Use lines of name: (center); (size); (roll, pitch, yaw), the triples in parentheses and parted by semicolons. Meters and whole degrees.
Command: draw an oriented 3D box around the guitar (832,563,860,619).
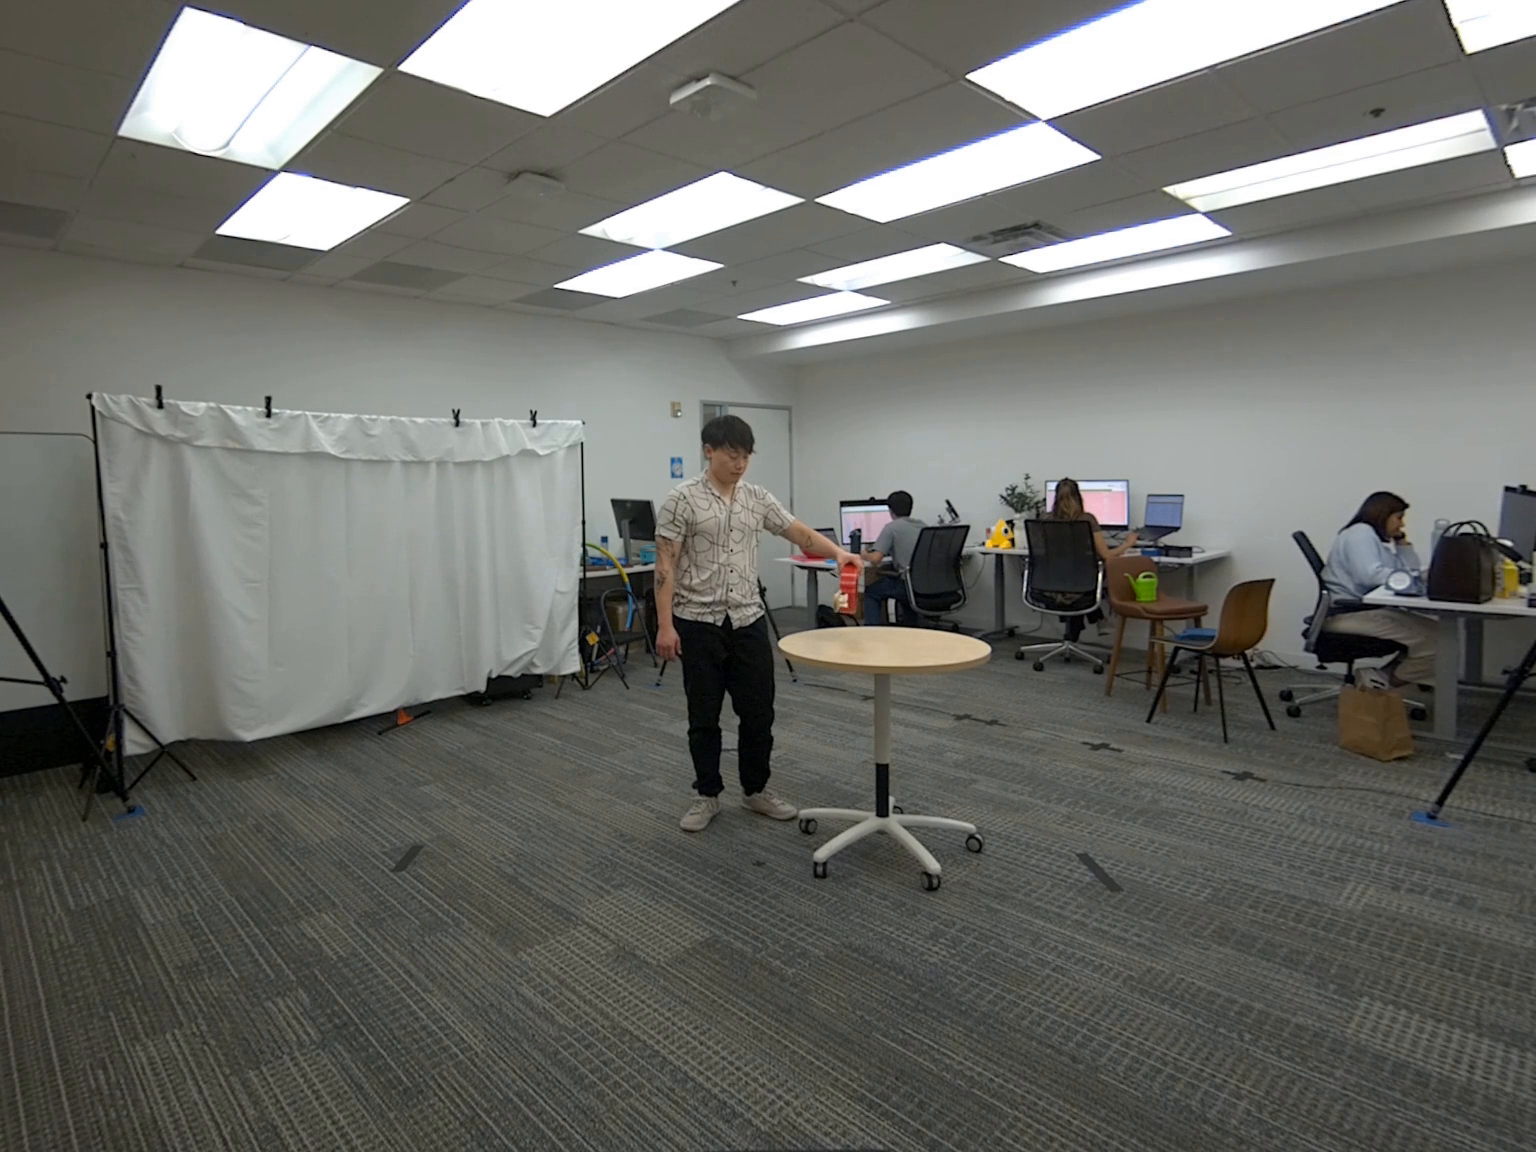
guitar: (0.306, 0.098, 3.196); (0.071, 0.190, 0.499); (0, 15, 8)
